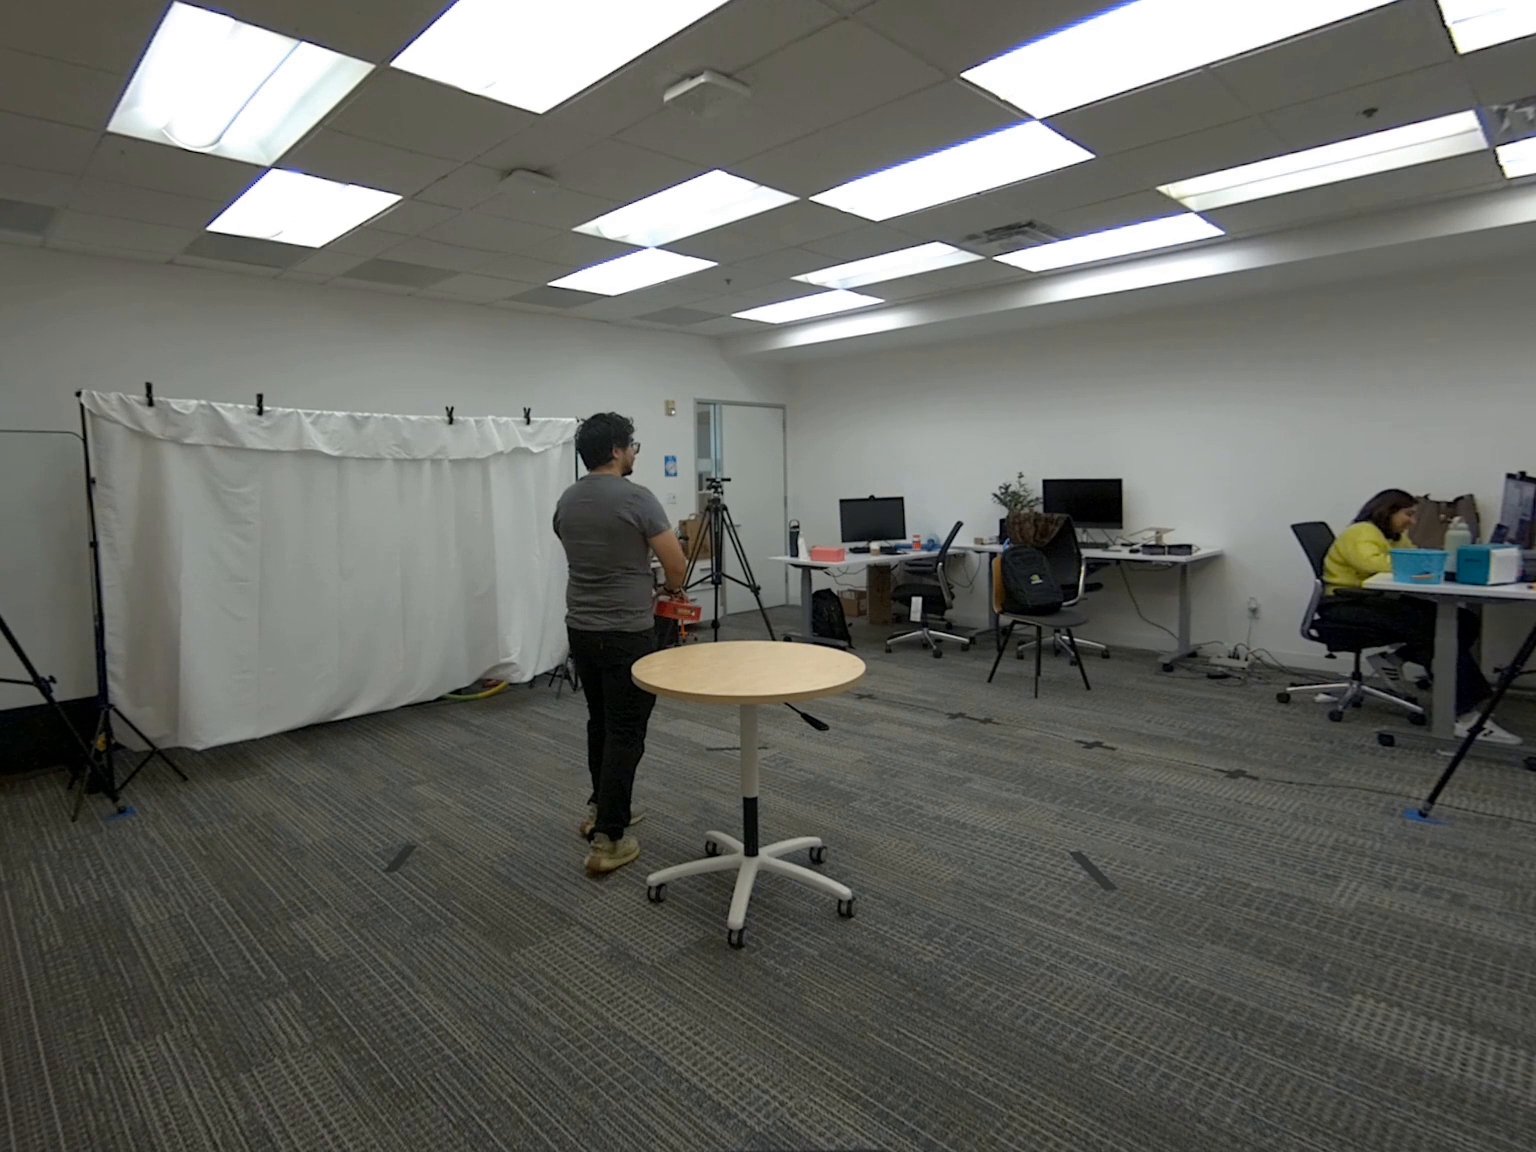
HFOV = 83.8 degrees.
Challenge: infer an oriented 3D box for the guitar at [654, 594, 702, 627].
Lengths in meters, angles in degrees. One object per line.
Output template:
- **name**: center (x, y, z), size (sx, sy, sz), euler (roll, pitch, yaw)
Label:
- **guitar**: center (-0.421, 0.113, 3.596), size (0.189, 0.070, 0.508), euler (9, 2, -19)
